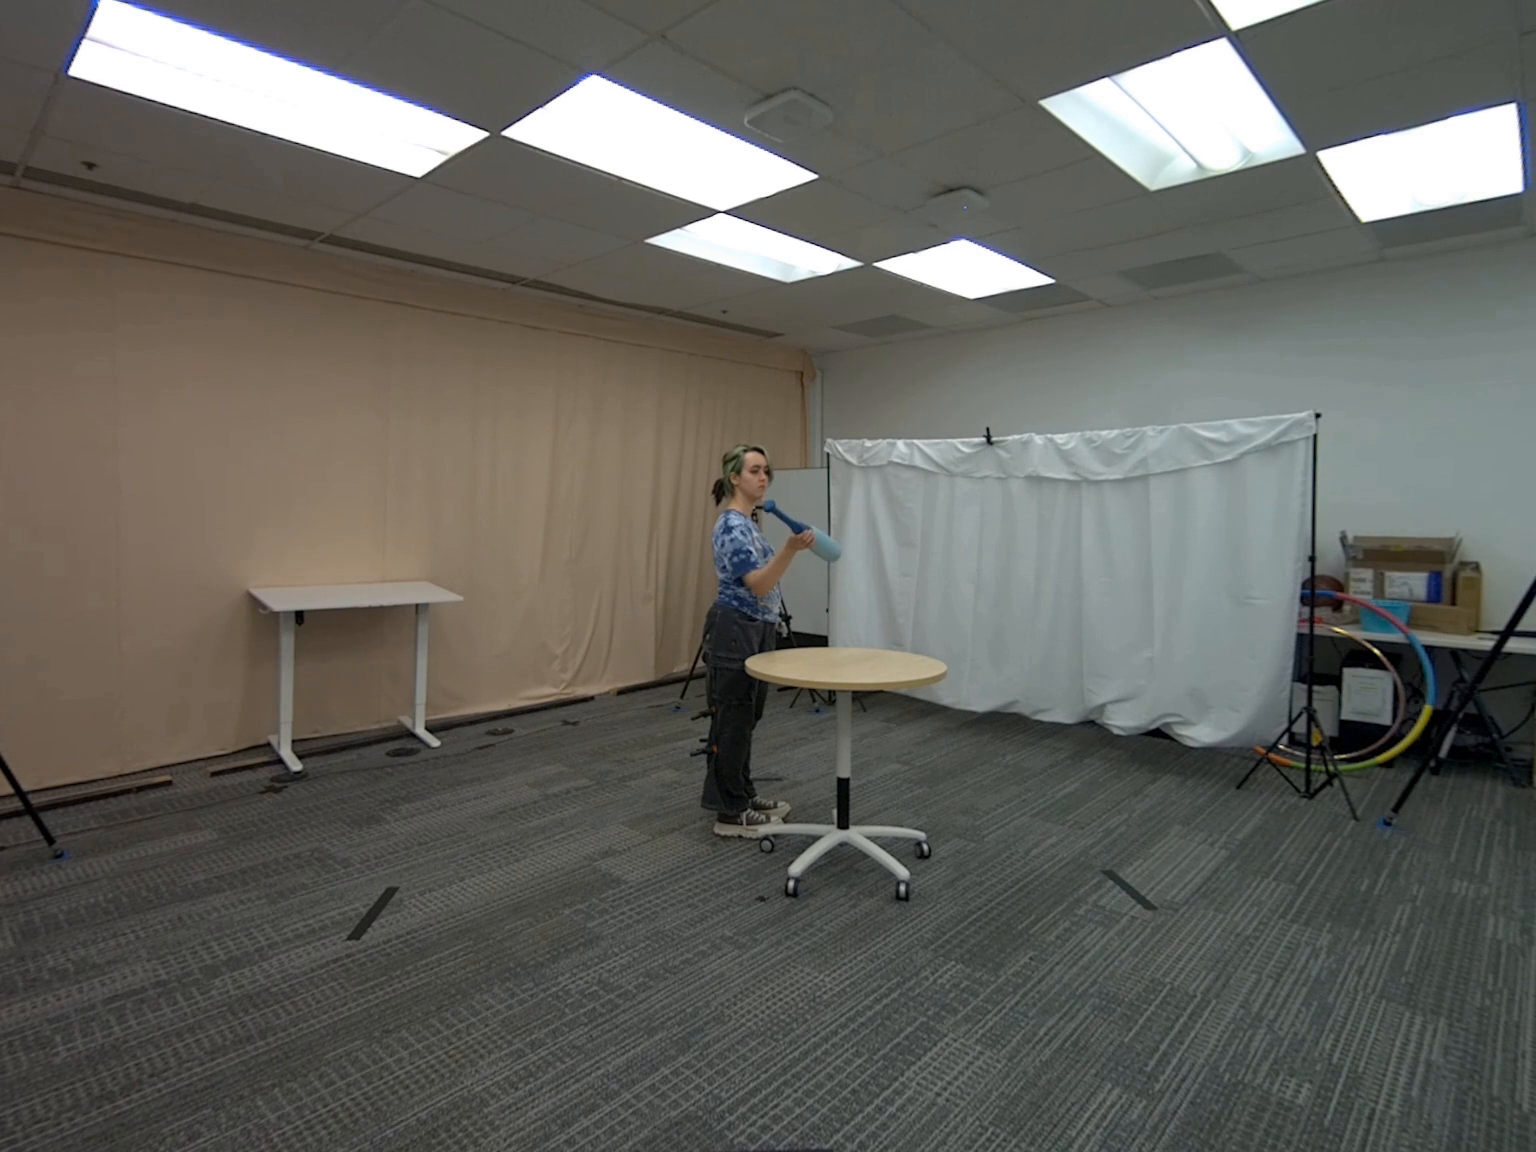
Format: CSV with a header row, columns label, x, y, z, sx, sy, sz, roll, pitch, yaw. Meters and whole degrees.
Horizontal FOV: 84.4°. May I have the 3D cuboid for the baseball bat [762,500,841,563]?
label,x,y,z,sx,sy,sz,roll,pitch,yaw
baseball bat,0.128,-0.173,3.221,0.092,0.089,0.524,3,-18,32
